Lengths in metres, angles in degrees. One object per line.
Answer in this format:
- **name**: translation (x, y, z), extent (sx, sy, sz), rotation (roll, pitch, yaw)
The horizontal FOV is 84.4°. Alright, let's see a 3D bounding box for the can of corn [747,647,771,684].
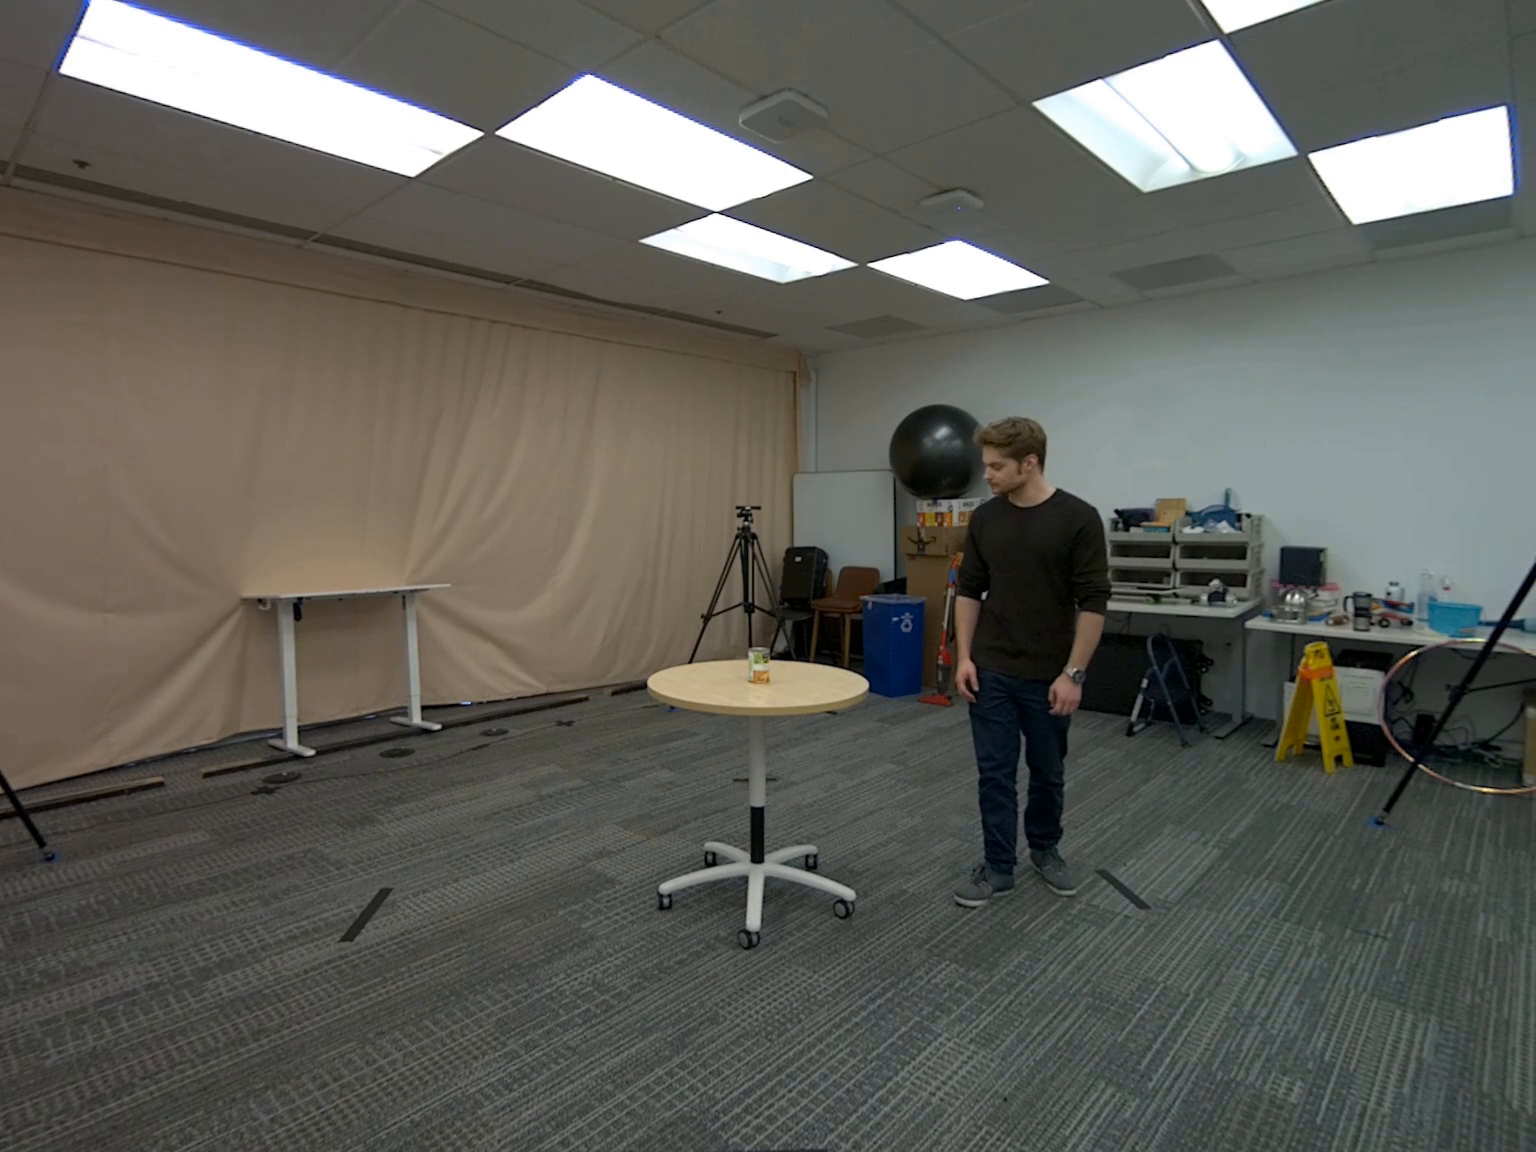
- **can of corn**: translation (-0.023, 0.314, 2.912), extent (0.074, 0.111, 0.074), rotation (2, 3, -2)
